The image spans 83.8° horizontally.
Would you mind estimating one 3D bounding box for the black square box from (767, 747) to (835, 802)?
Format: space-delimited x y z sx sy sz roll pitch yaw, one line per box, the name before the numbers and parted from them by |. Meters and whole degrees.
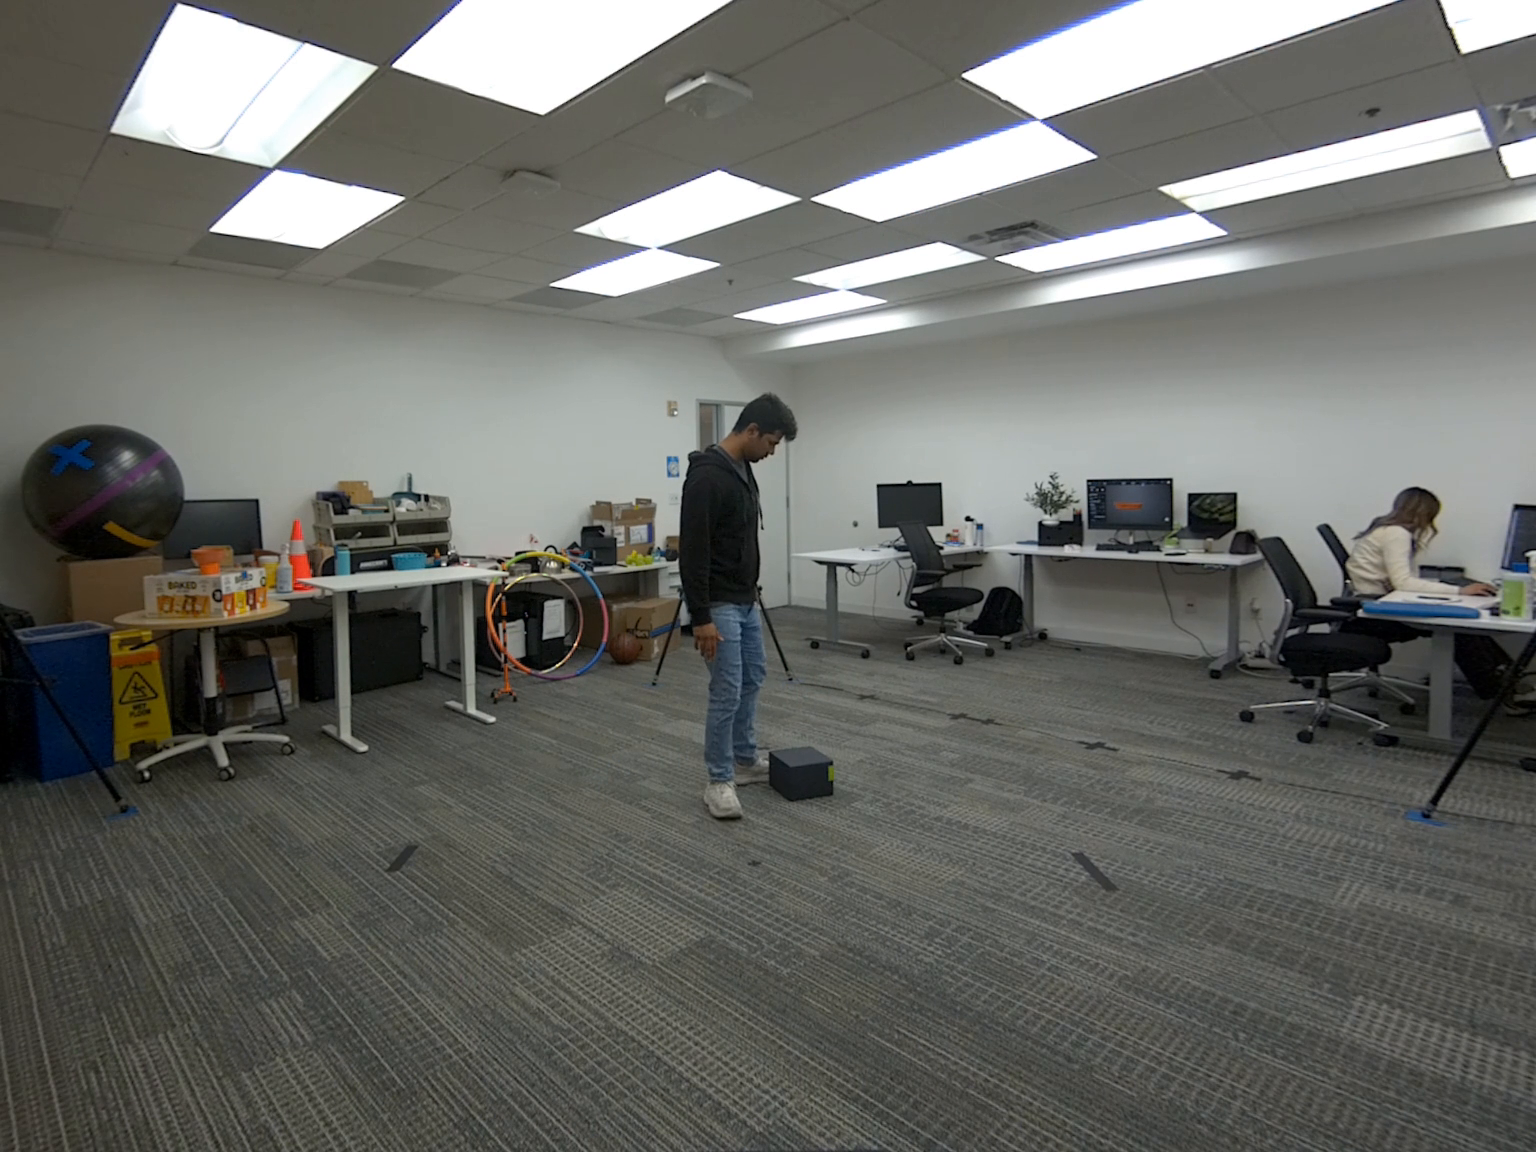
black square box | 0.152 0.878 3.815 0.213 0.155 0.233 -3 6 -21
